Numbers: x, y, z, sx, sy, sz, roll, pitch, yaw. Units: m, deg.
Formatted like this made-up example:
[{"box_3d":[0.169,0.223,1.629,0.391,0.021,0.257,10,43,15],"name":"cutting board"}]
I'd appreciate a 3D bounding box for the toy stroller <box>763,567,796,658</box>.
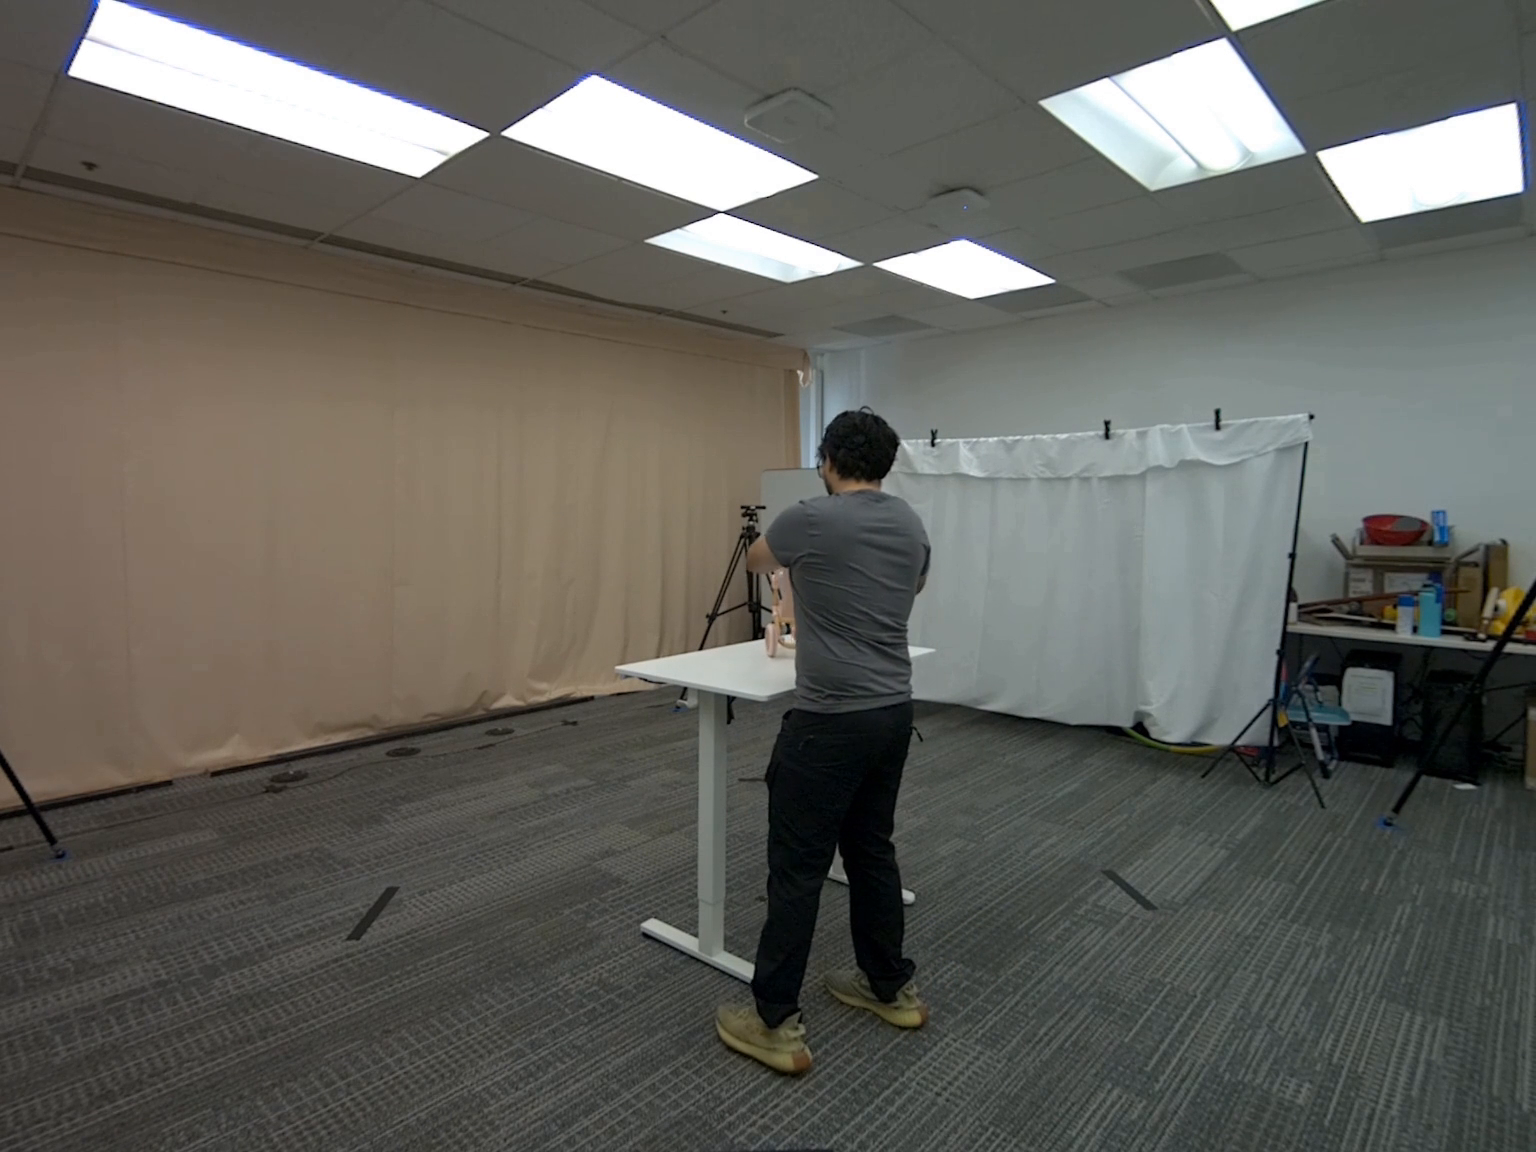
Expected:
[{"box_3d":[0.137,0.048,2.890,0.281,0.529,0.345,2,21,-2],"name":"toy stroller"}]
